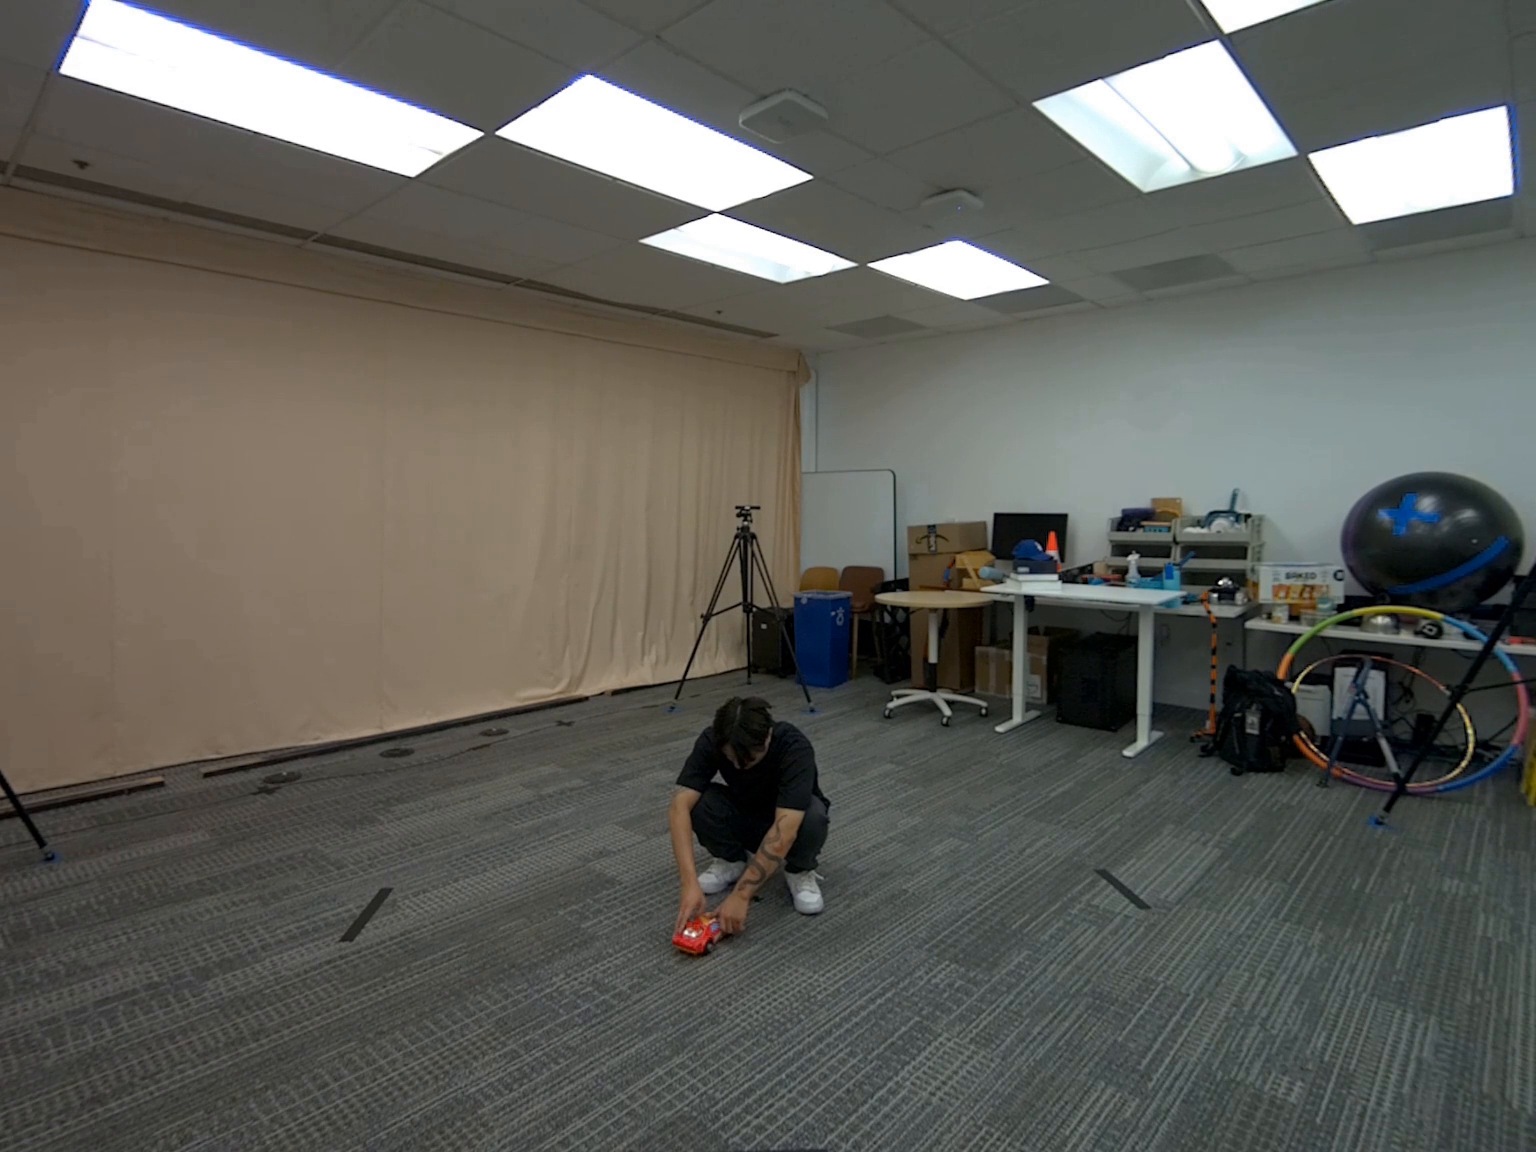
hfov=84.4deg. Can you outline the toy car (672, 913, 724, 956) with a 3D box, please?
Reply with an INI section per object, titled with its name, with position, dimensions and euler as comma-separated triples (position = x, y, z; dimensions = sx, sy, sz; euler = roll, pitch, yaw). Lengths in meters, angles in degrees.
[toy car]
position = -0.213, 1.134, 2.684
dimensions = 0.134, 0.083, 0.246
euler = 2, -6, 34
